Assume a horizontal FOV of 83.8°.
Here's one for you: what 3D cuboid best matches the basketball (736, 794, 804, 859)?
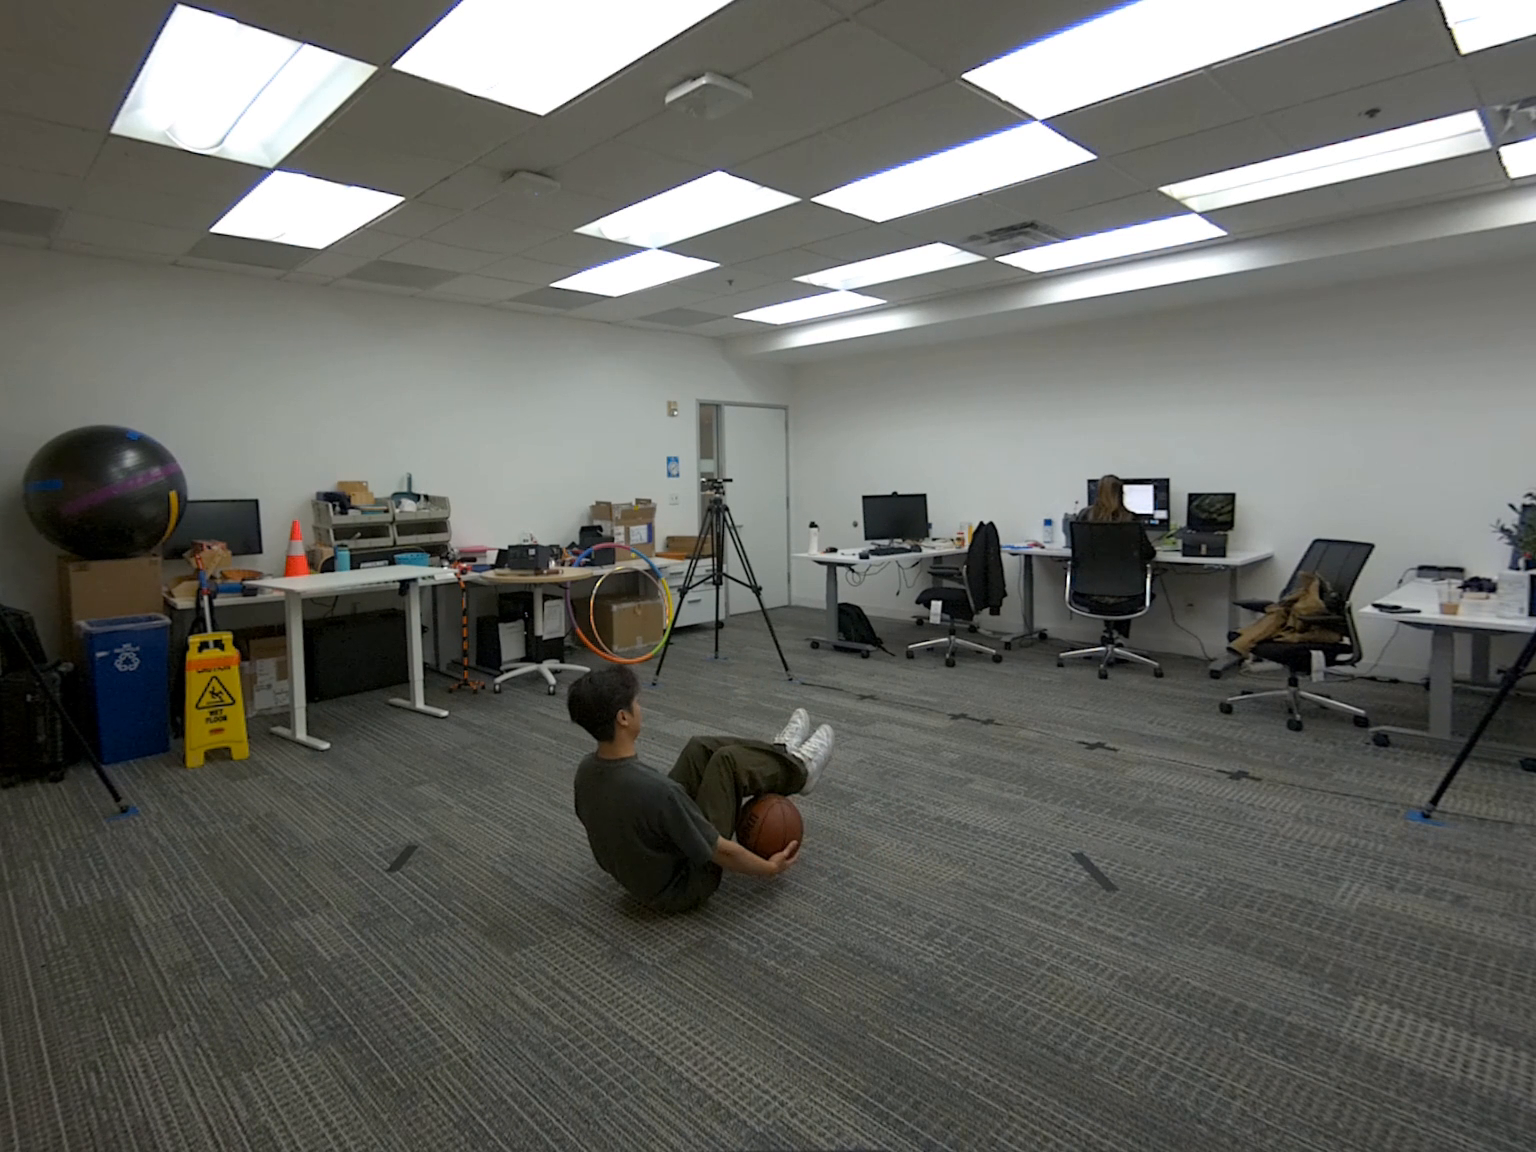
[{"bbox_3d":[-0.001,0.872,2.965,0.236,0.235,0.237,-1,5,-2],"label":"basketball"}]
